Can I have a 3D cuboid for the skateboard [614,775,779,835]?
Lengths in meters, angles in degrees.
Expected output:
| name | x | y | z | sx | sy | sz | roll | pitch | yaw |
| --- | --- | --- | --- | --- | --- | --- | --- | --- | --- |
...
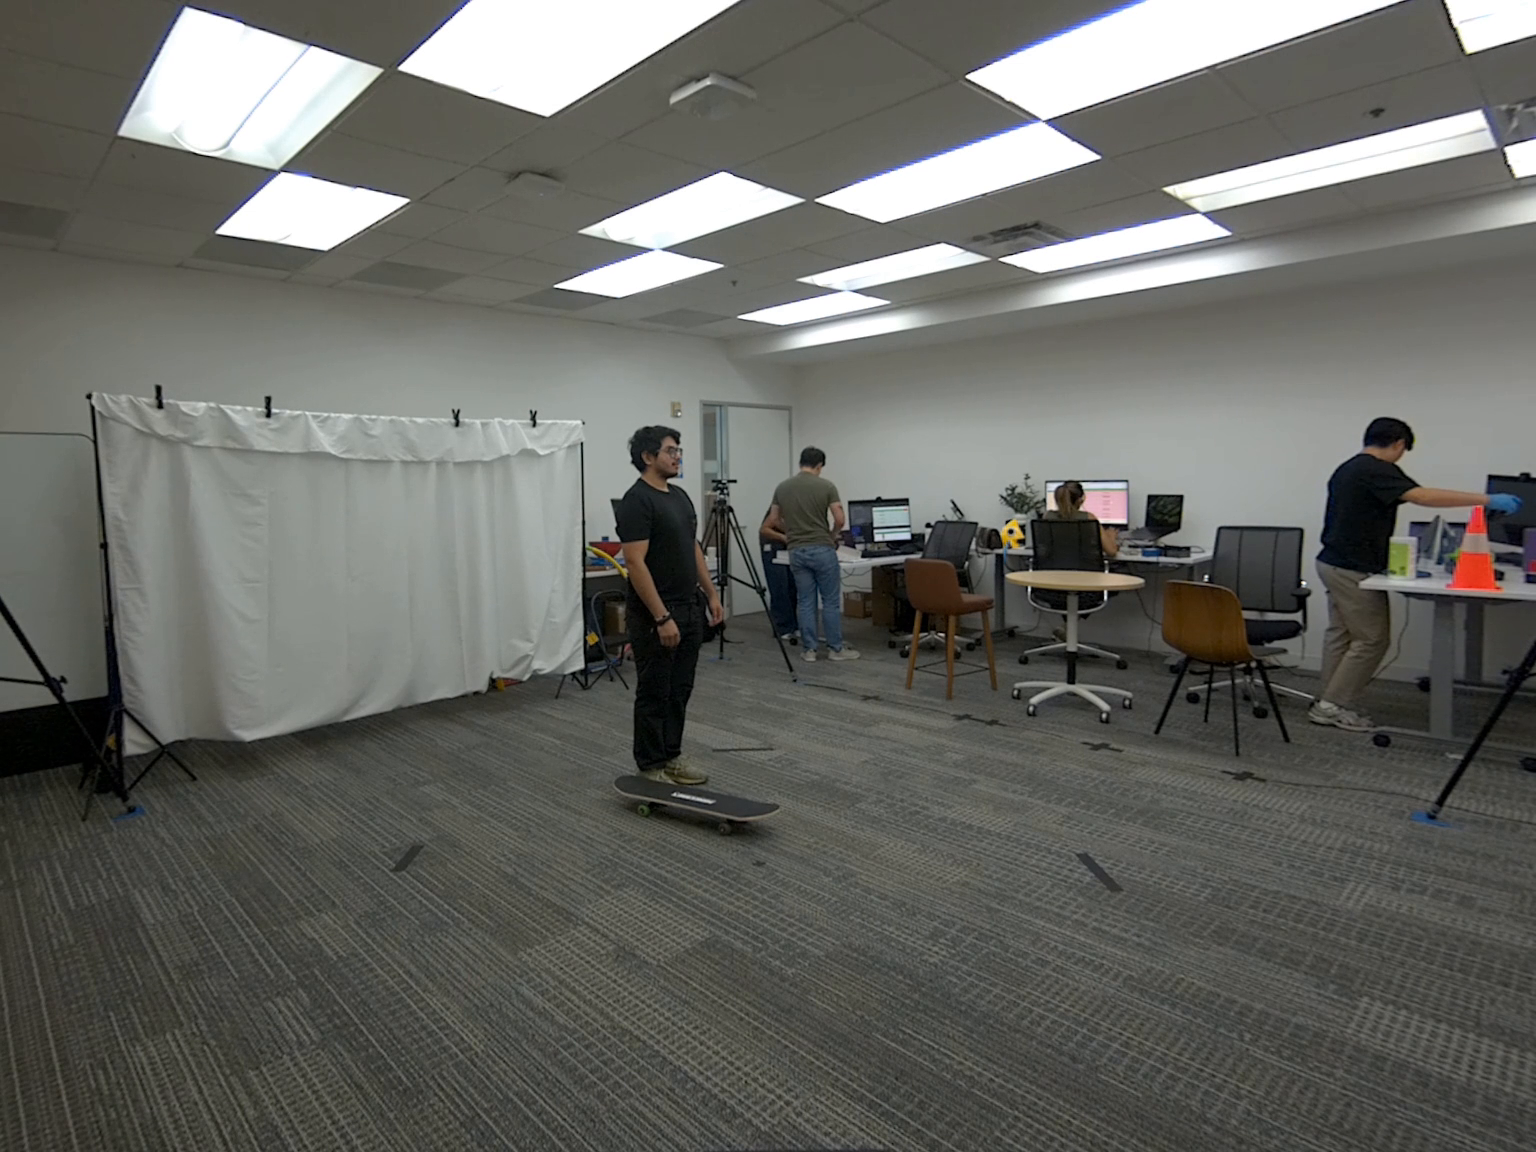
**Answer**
| name | x | y | z | sx | sy | sz | roll | pitch | yaw |
| --- | --- | --- | --- | --- | --- | --- | --- | --- | --- |
| skateboard | -0.301 | 0.949 | 3.531 | 0.806 | 0.110 | 0.189 | 2 | 6 | 30 |
